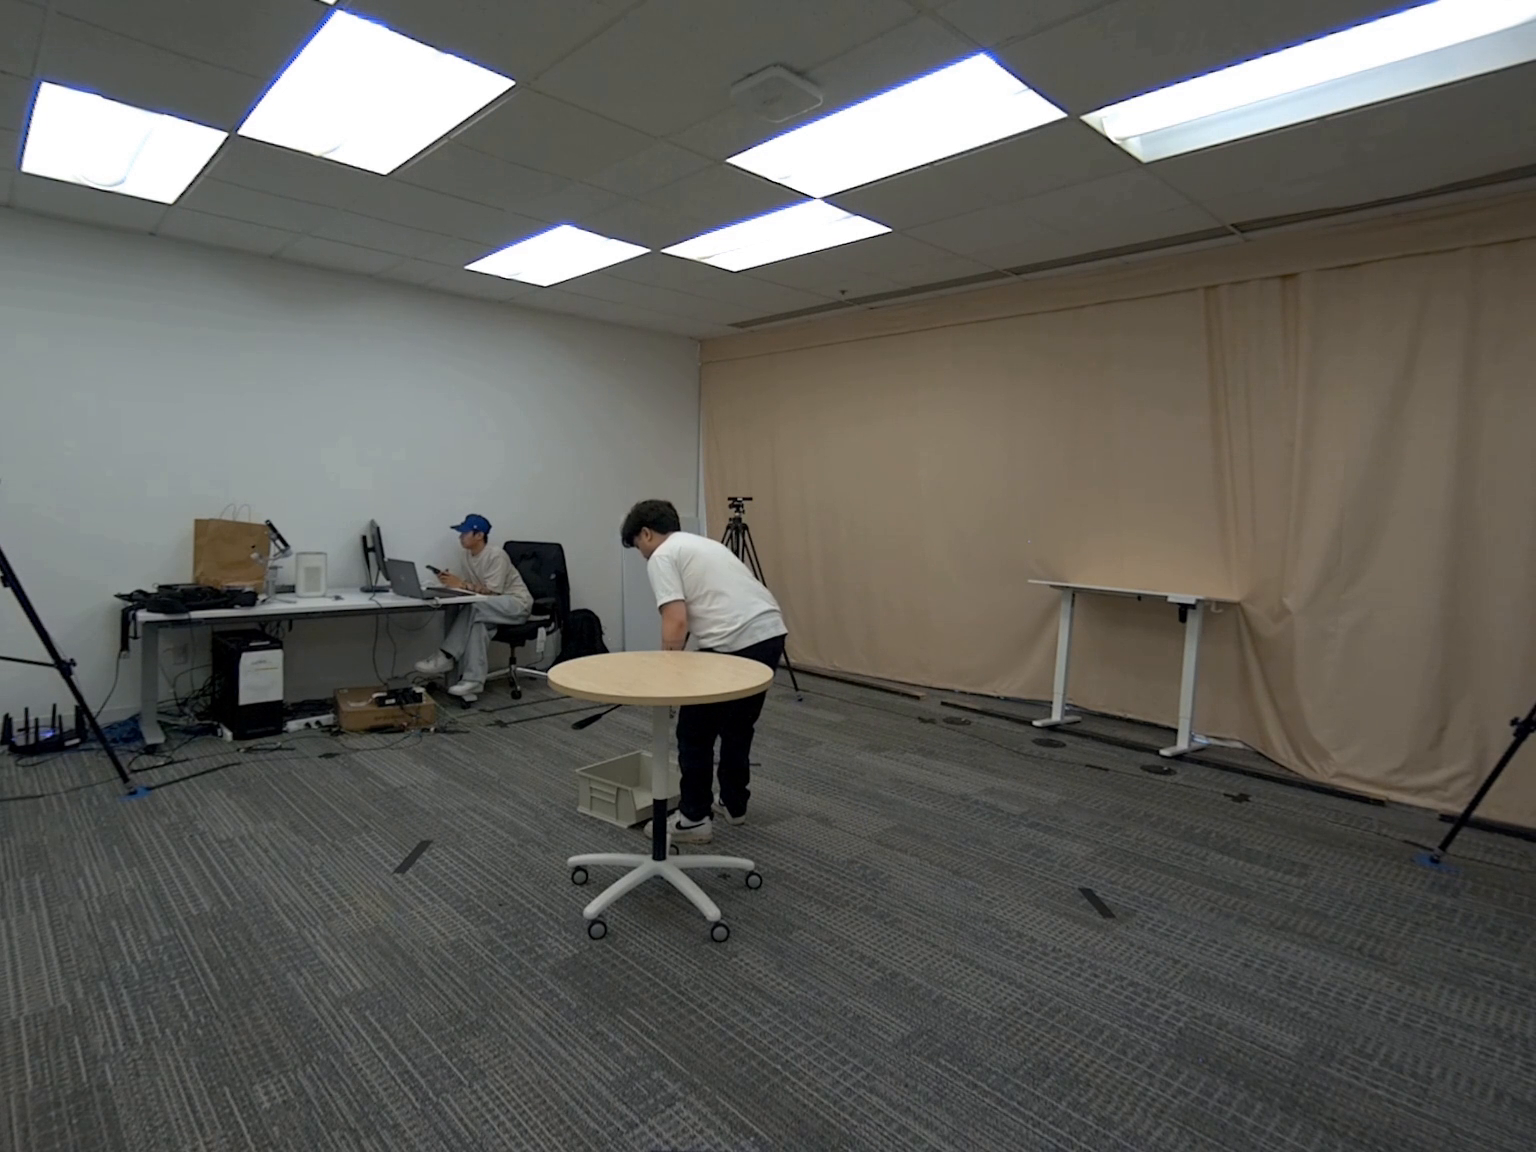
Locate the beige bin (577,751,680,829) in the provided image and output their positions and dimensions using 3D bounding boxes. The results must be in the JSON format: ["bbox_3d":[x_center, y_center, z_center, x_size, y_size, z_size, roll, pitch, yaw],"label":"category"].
[{"bbox_3d":[-0.582,0.947,3.763,0.386,0.188,0.413,4,6,37],"label":"beige bin"}]
